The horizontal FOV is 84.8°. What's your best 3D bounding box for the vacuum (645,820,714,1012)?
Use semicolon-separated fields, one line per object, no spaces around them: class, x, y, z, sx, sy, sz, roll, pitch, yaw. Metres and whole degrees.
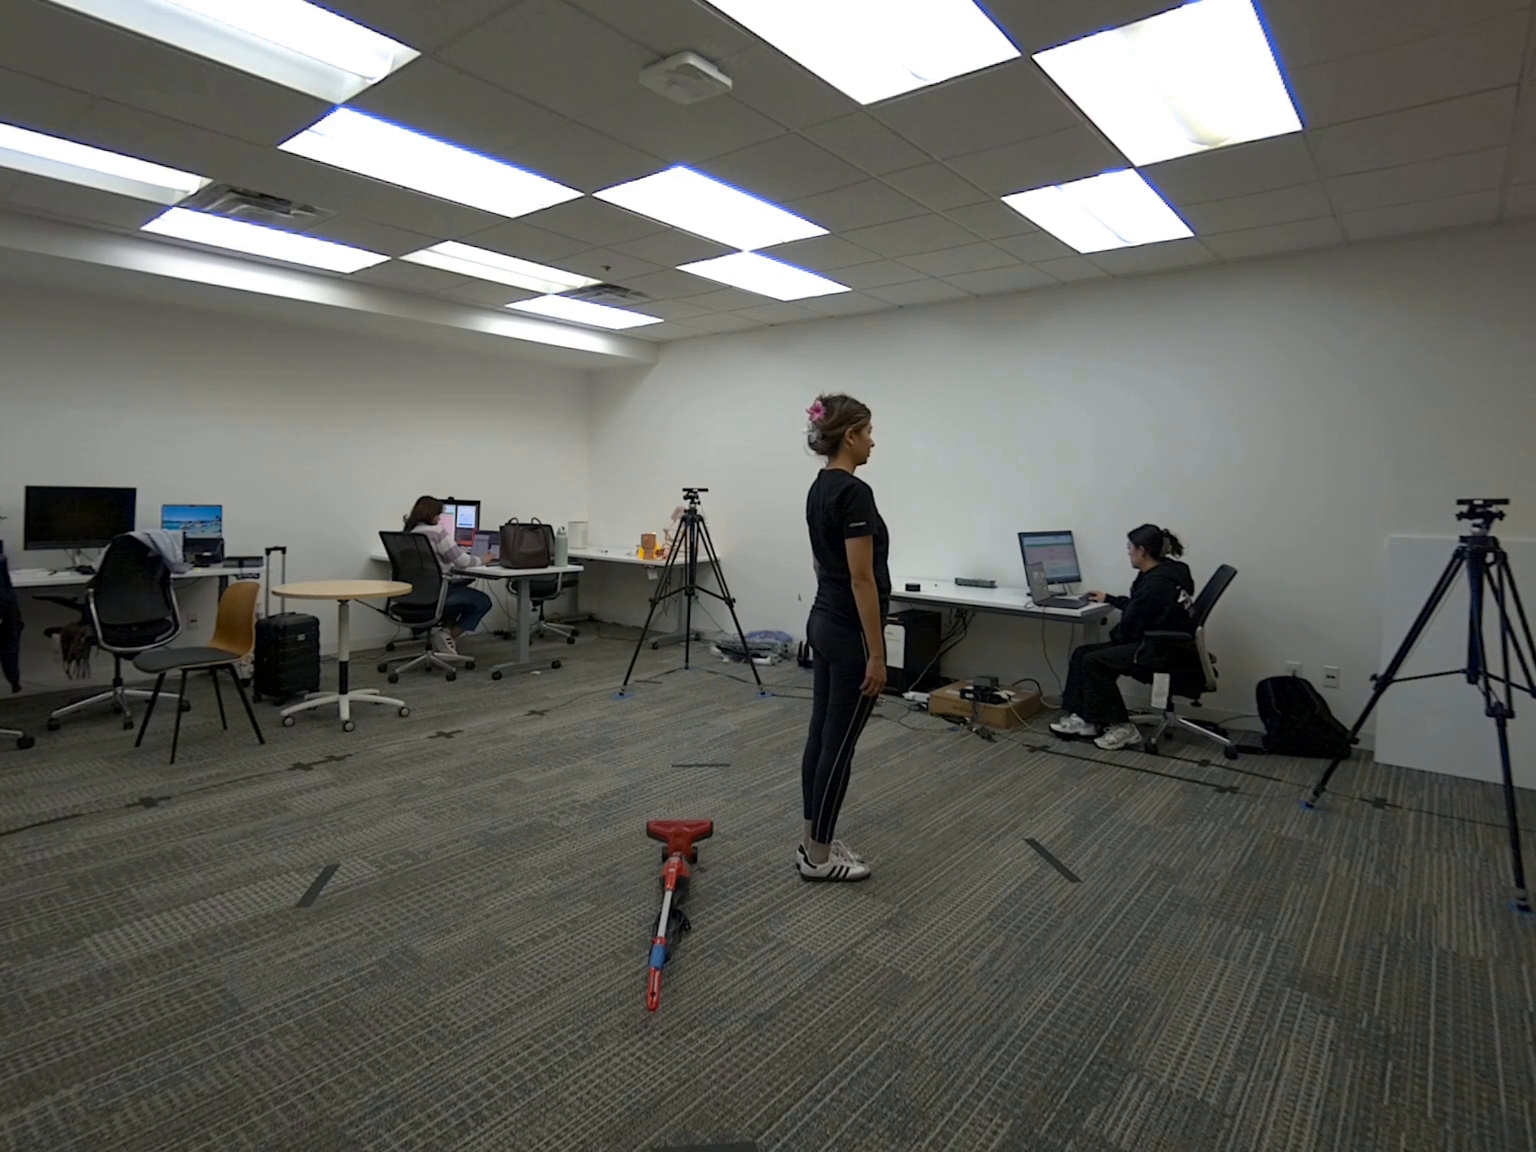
vacuum;-0.313;1.049;2.679;0.252;0.143;1.056;-2;7;-3
